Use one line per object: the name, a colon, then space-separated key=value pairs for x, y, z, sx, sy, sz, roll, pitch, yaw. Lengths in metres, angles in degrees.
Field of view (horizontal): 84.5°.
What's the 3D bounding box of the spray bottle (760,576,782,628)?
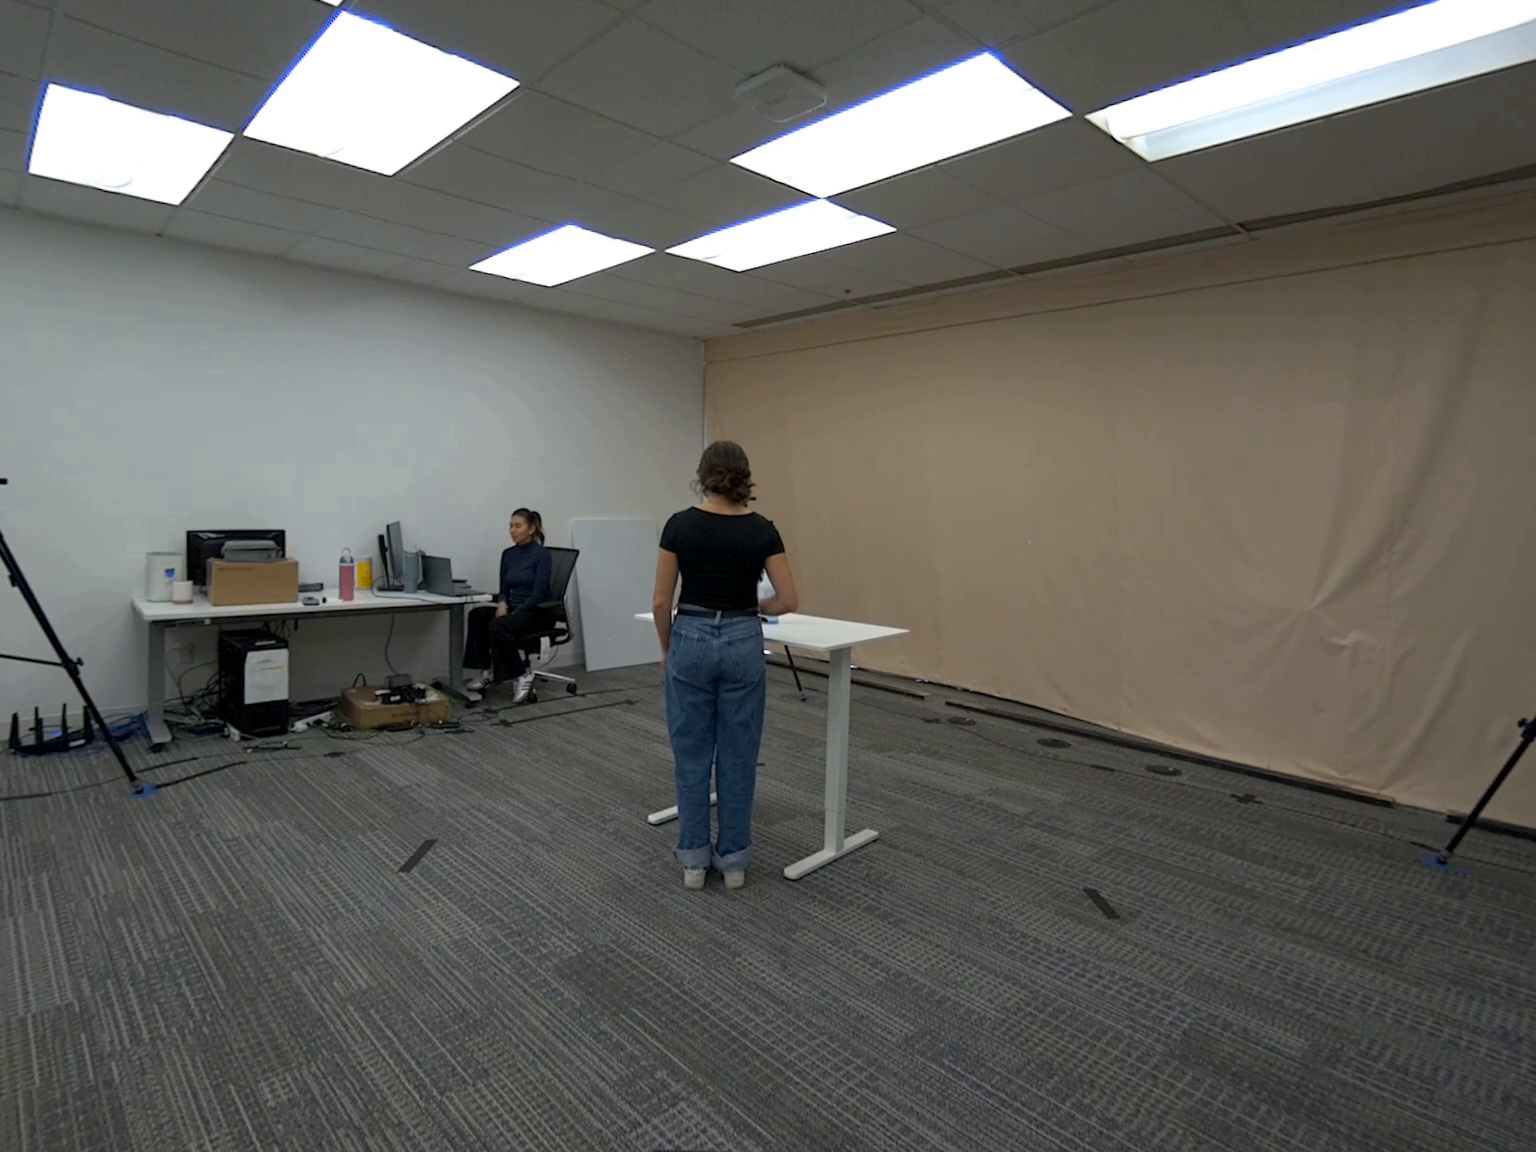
spray bottle: x=0.014 y=0.053 z=3.479 sx=0.090 sy=0.296 sz=0.087 roll=3 pitch=4 yaw=1
